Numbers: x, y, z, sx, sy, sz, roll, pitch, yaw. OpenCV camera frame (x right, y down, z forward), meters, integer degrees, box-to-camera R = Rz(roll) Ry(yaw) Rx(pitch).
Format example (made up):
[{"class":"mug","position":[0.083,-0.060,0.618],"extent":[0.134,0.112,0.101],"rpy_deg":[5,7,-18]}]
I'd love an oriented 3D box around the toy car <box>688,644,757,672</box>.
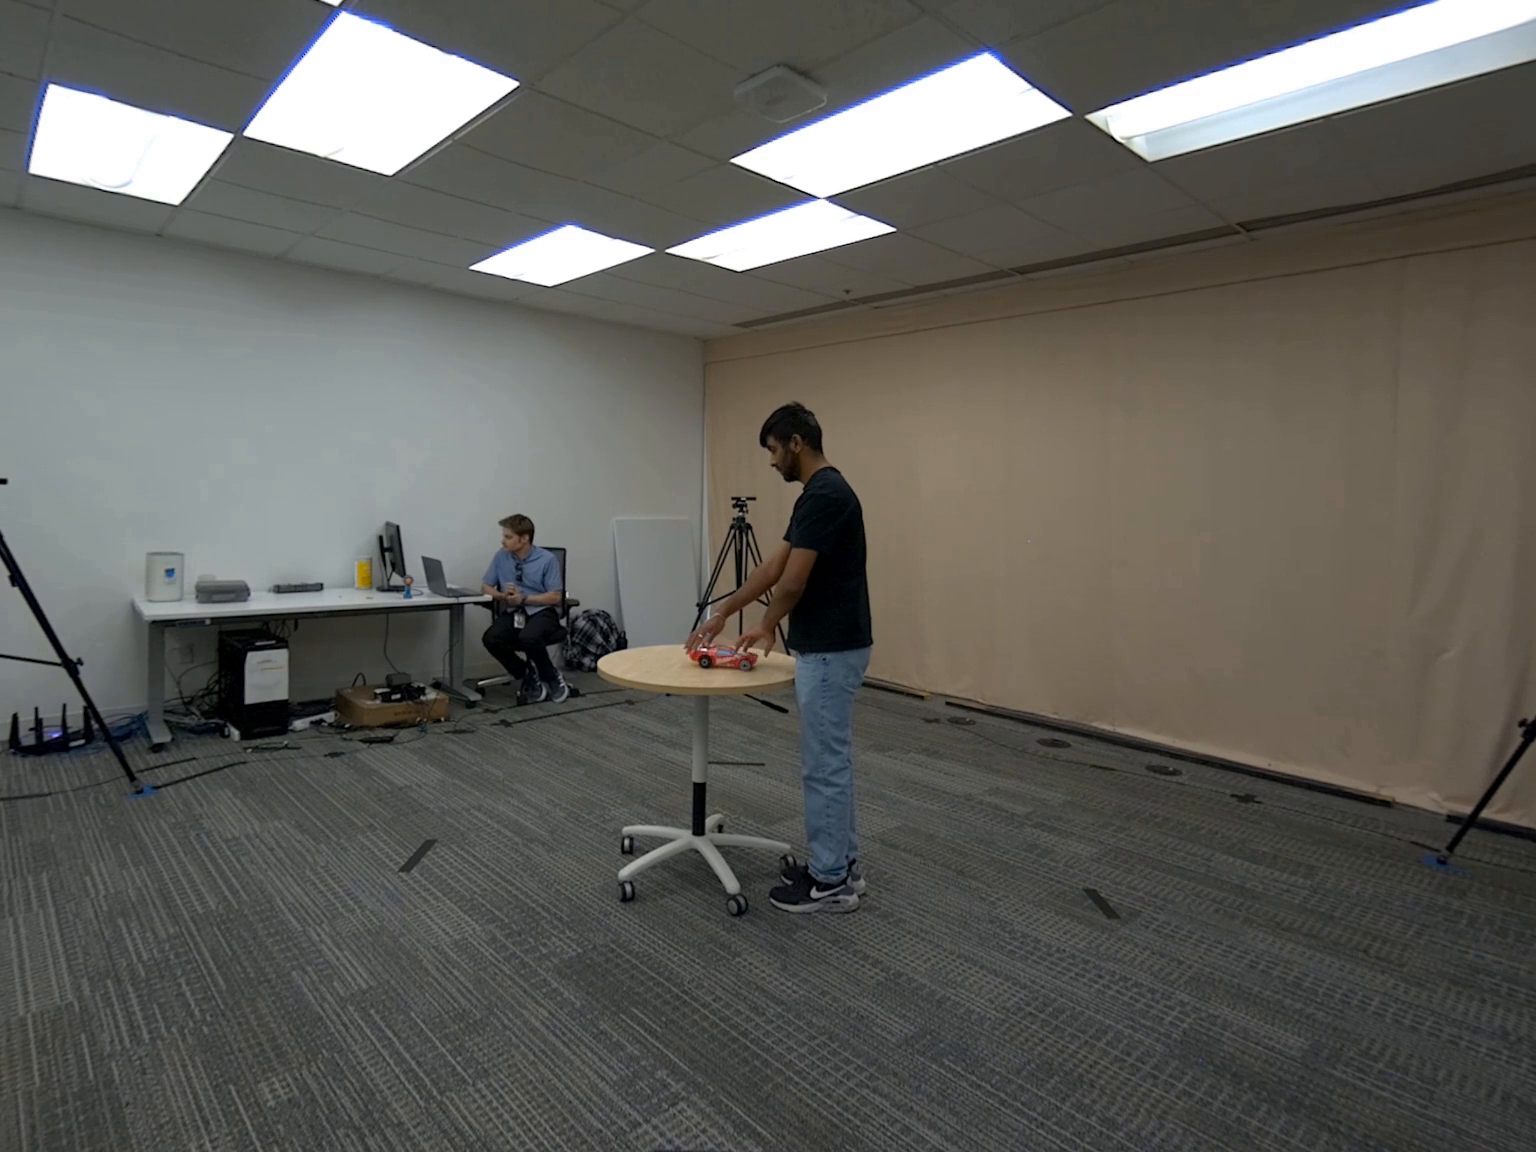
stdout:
[{"class":"toy car","position":[-0.174,0.295,3.049],"extent":[0.257,0.083,0.130],"rpy_deg":[13,7,8]}]
